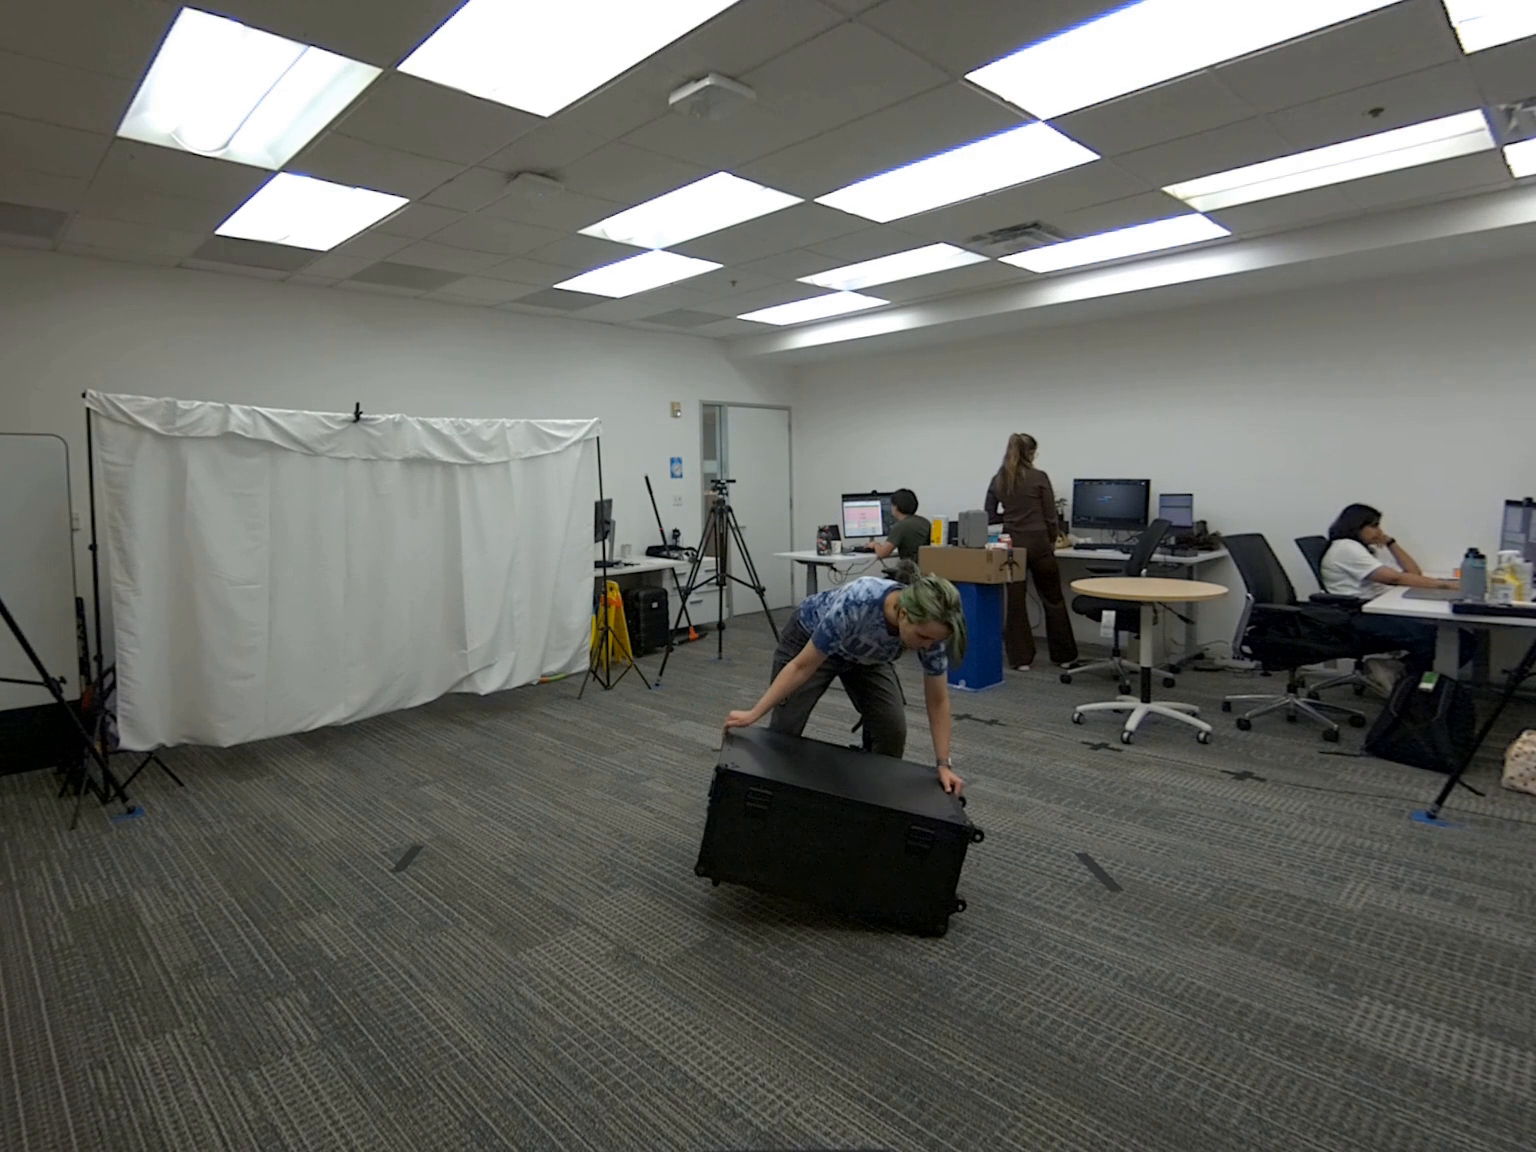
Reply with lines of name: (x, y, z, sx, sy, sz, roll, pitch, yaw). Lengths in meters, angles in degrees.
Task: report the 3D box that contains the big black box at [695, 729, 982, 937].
big black box: (0.184, 0.806, 2.802, 0.863, 0.394, 0.523, 12, 7, 1)
